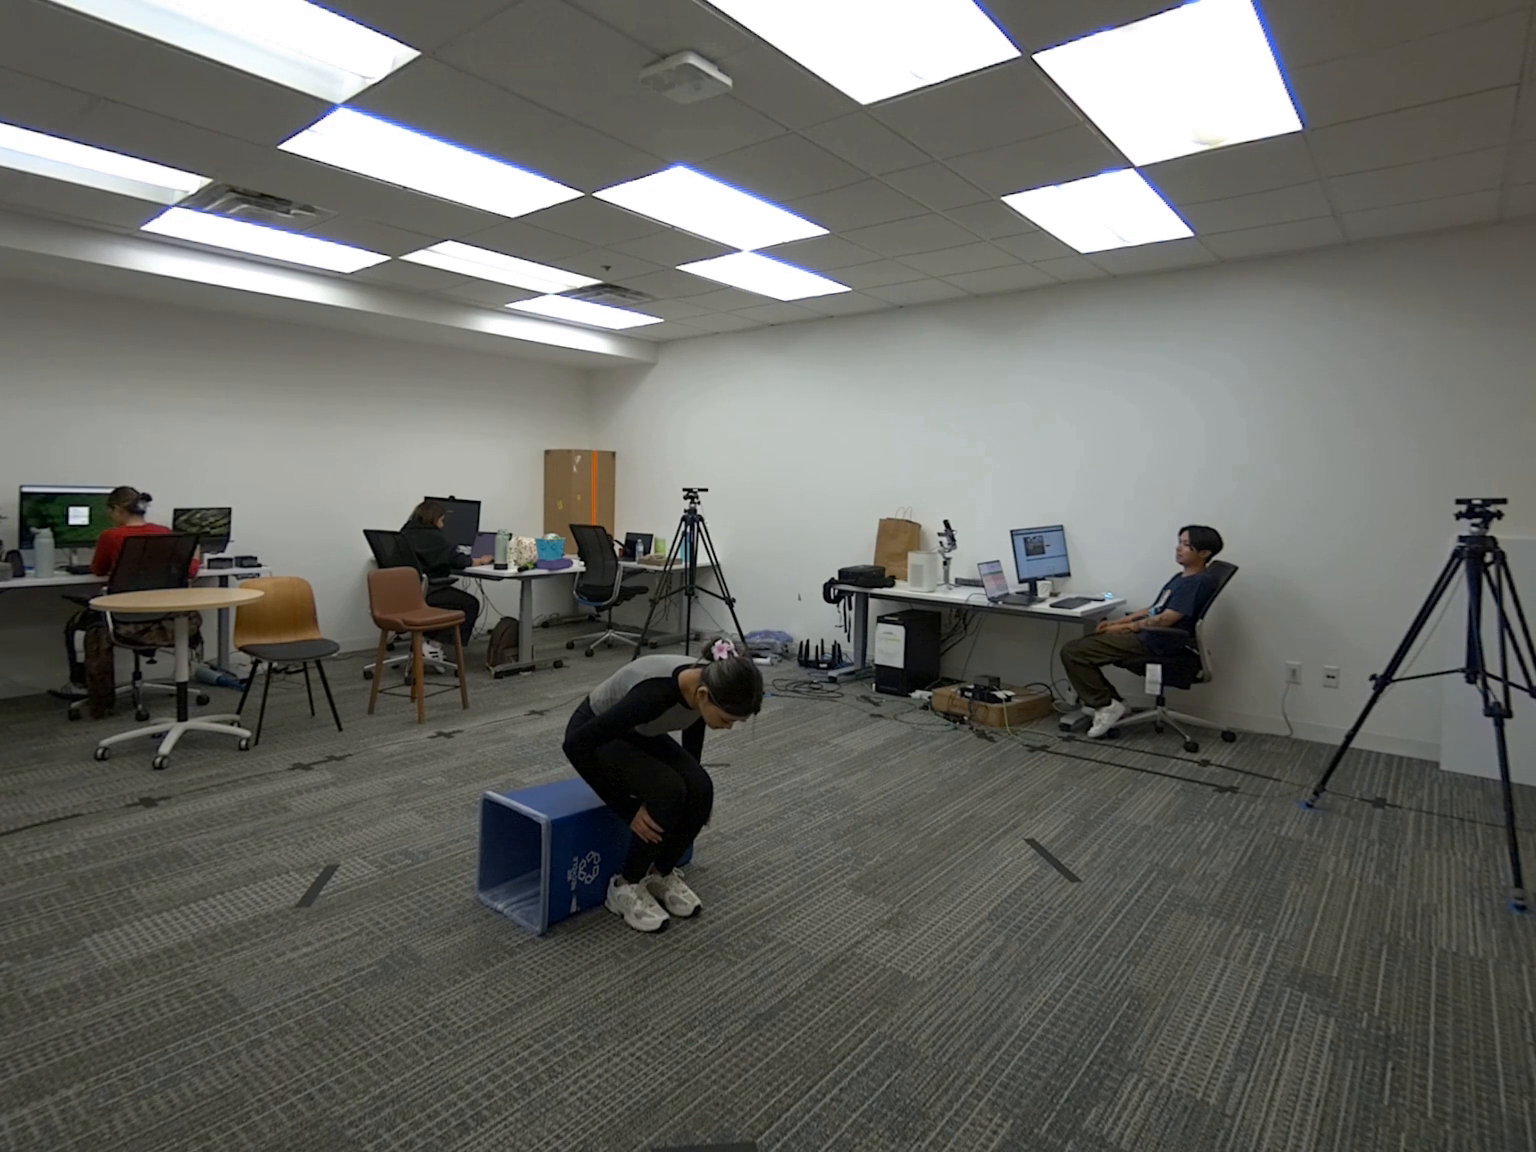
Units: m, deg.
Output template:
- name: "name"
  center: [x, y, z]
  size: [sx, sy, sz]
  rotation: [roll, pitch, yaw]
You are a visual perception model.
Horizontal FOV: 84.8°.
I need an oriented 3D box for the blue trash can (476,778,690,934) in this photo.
- name: "blue trash can"
  center: [-0.627, 0.899, 3.001]
  size: [0.390, 0.373, 0.692]
  rotation: [3, 4, 39]
